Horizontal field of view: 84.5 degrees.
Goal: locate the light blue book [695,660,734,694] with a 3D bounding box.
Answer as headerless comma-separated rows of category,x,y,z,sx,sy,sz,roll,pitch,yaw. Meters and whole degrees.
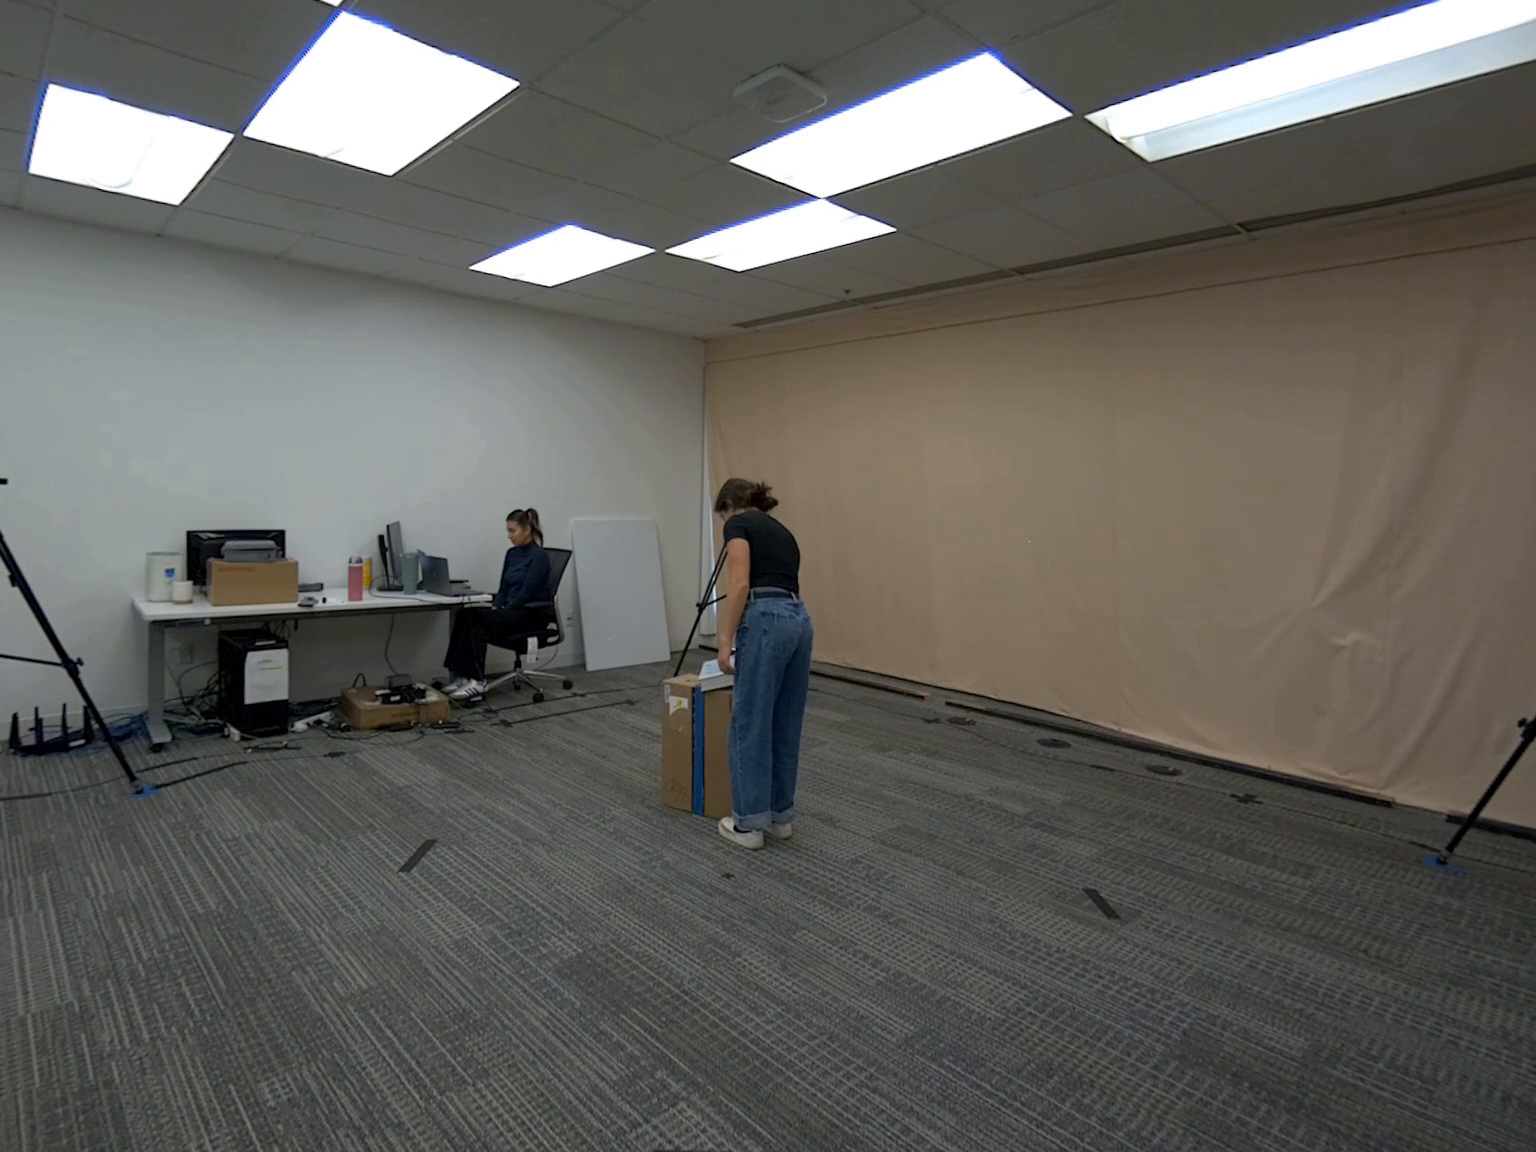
light blue book,-0.207,0.428,3.736,0.192,0.058,0.262,-13,9,6
